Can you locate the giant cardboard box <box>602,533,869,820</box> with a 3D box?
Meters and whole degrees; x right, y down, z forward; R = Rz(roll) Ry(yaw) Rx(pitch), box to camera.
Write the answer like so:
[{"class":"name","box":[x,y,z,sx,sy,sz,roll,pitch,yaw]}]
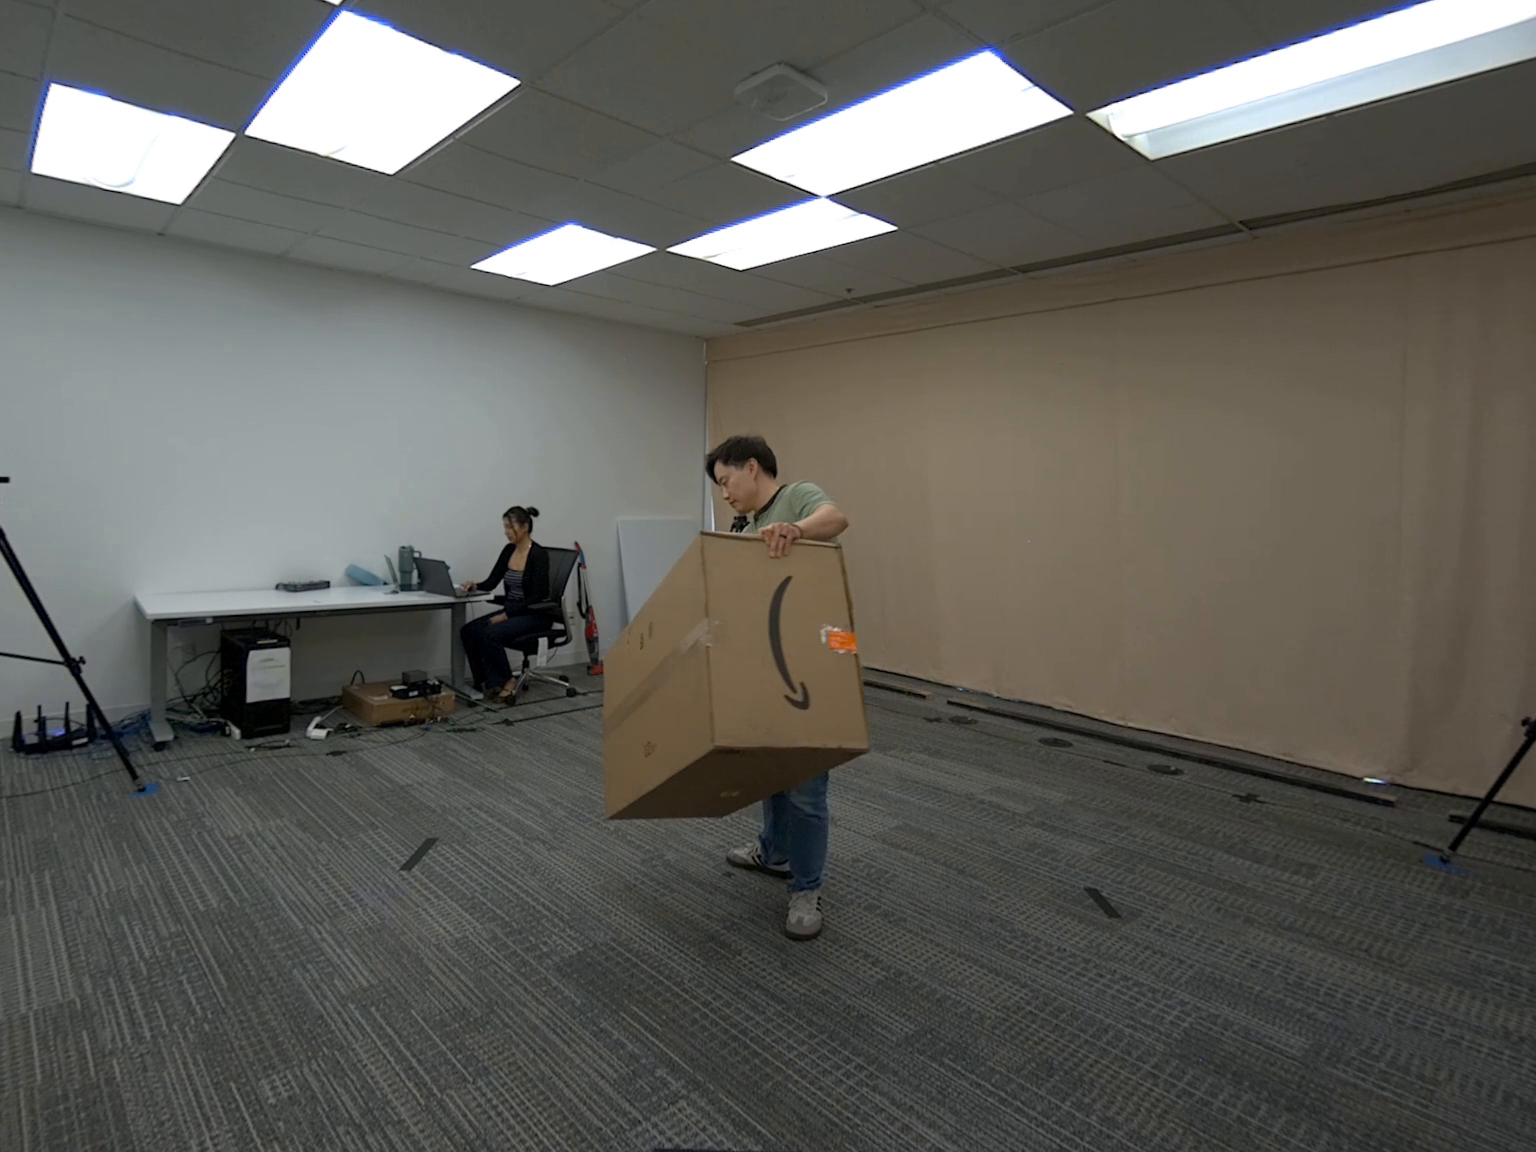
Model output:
[{"class":"giant cardboard box","box":[-0.171,0.364,2.571,0.418,0.588,1.025,6,-27,-23]}]
